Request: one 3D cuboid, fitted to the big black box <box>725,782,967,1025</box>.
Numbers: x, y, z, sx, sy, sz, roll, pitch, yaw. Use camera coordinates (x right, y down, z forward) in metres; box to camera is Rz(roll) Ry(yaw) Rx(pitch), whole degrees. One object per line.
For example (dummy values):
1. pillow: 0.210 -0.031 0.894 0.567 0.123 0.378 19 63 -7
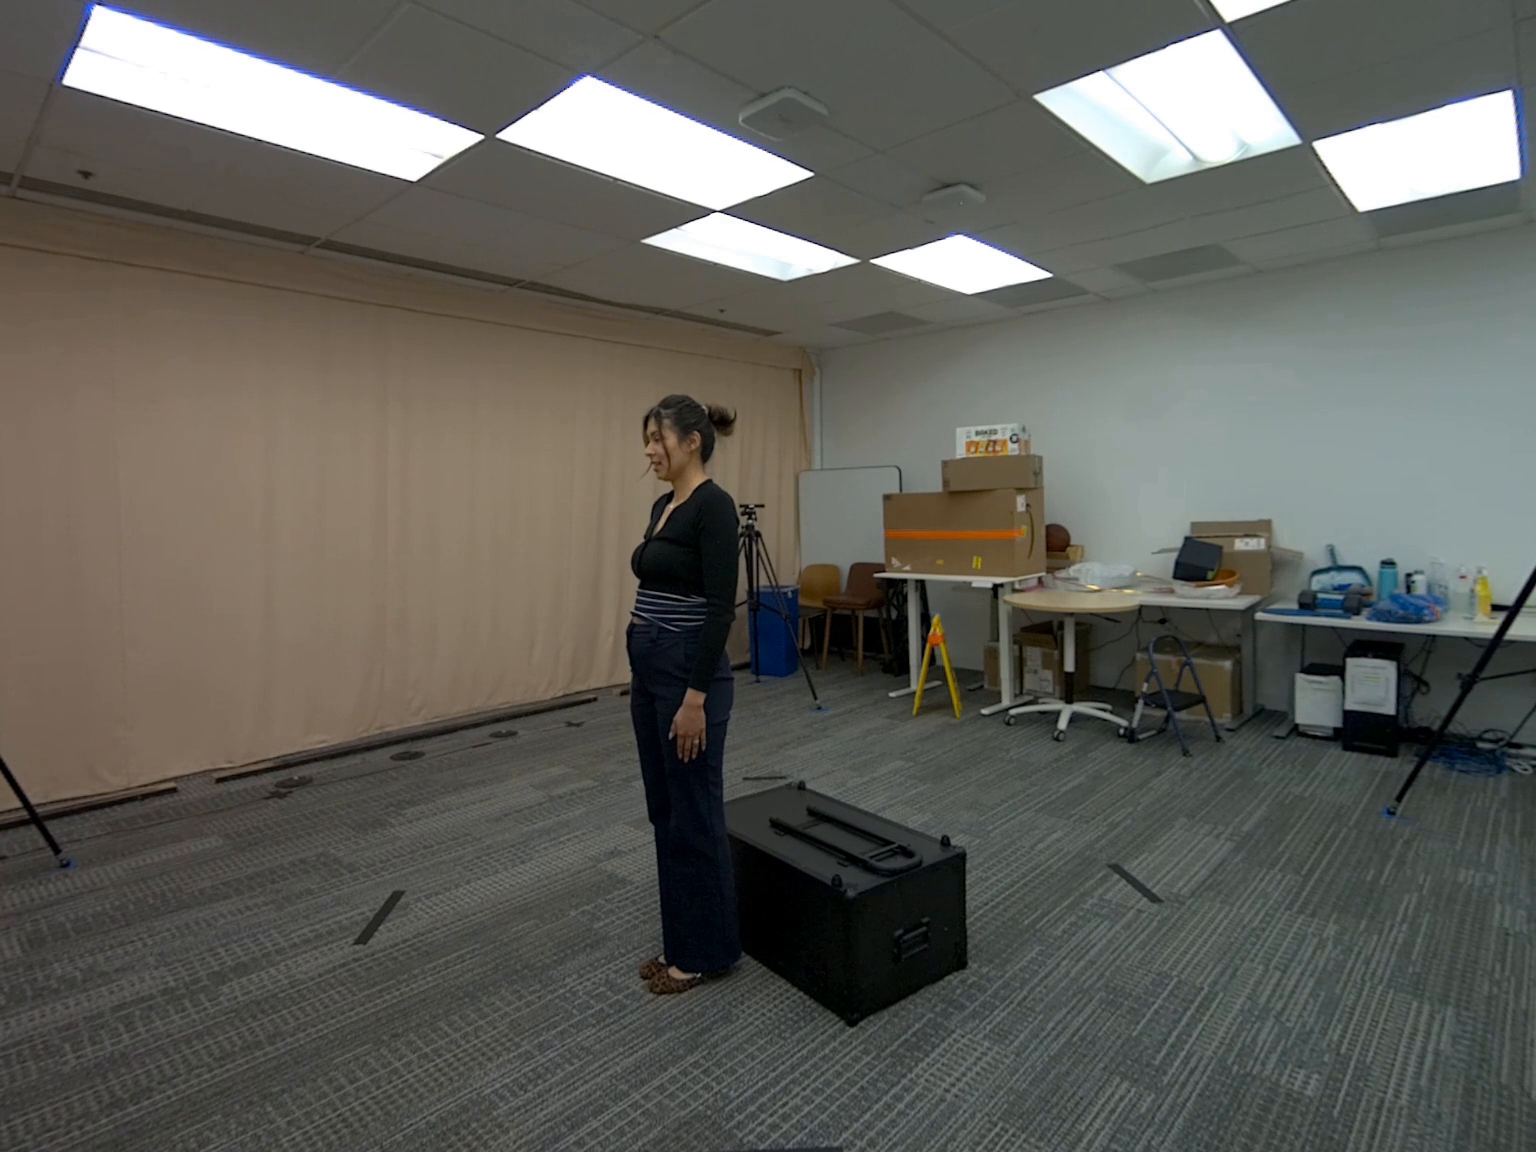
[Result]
1. big black box: 0.180 0.990 2.655 0.506 0.395 0.889 -4 5 -37
